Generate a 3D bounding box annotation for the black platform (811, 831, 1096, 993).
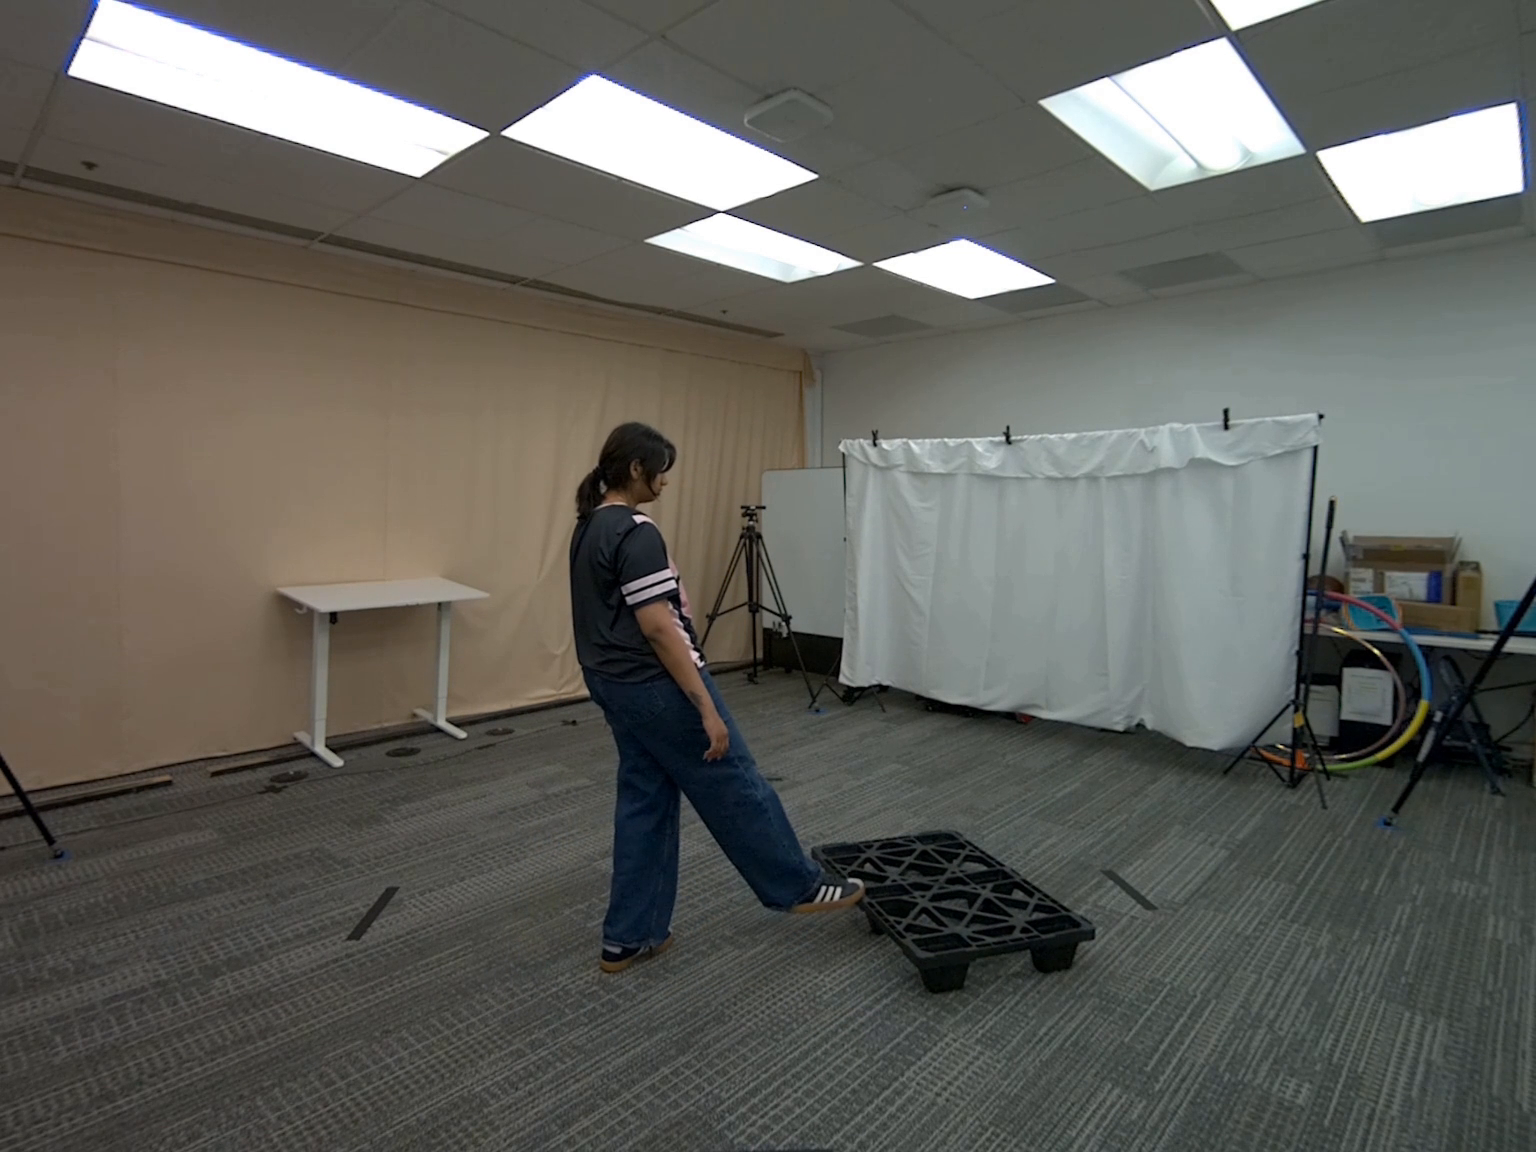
[{"bbox_3d":[0.569,1.091,2.807,0.594,0.143,0.822,-1,5,-18],"label":"black platform"}]
